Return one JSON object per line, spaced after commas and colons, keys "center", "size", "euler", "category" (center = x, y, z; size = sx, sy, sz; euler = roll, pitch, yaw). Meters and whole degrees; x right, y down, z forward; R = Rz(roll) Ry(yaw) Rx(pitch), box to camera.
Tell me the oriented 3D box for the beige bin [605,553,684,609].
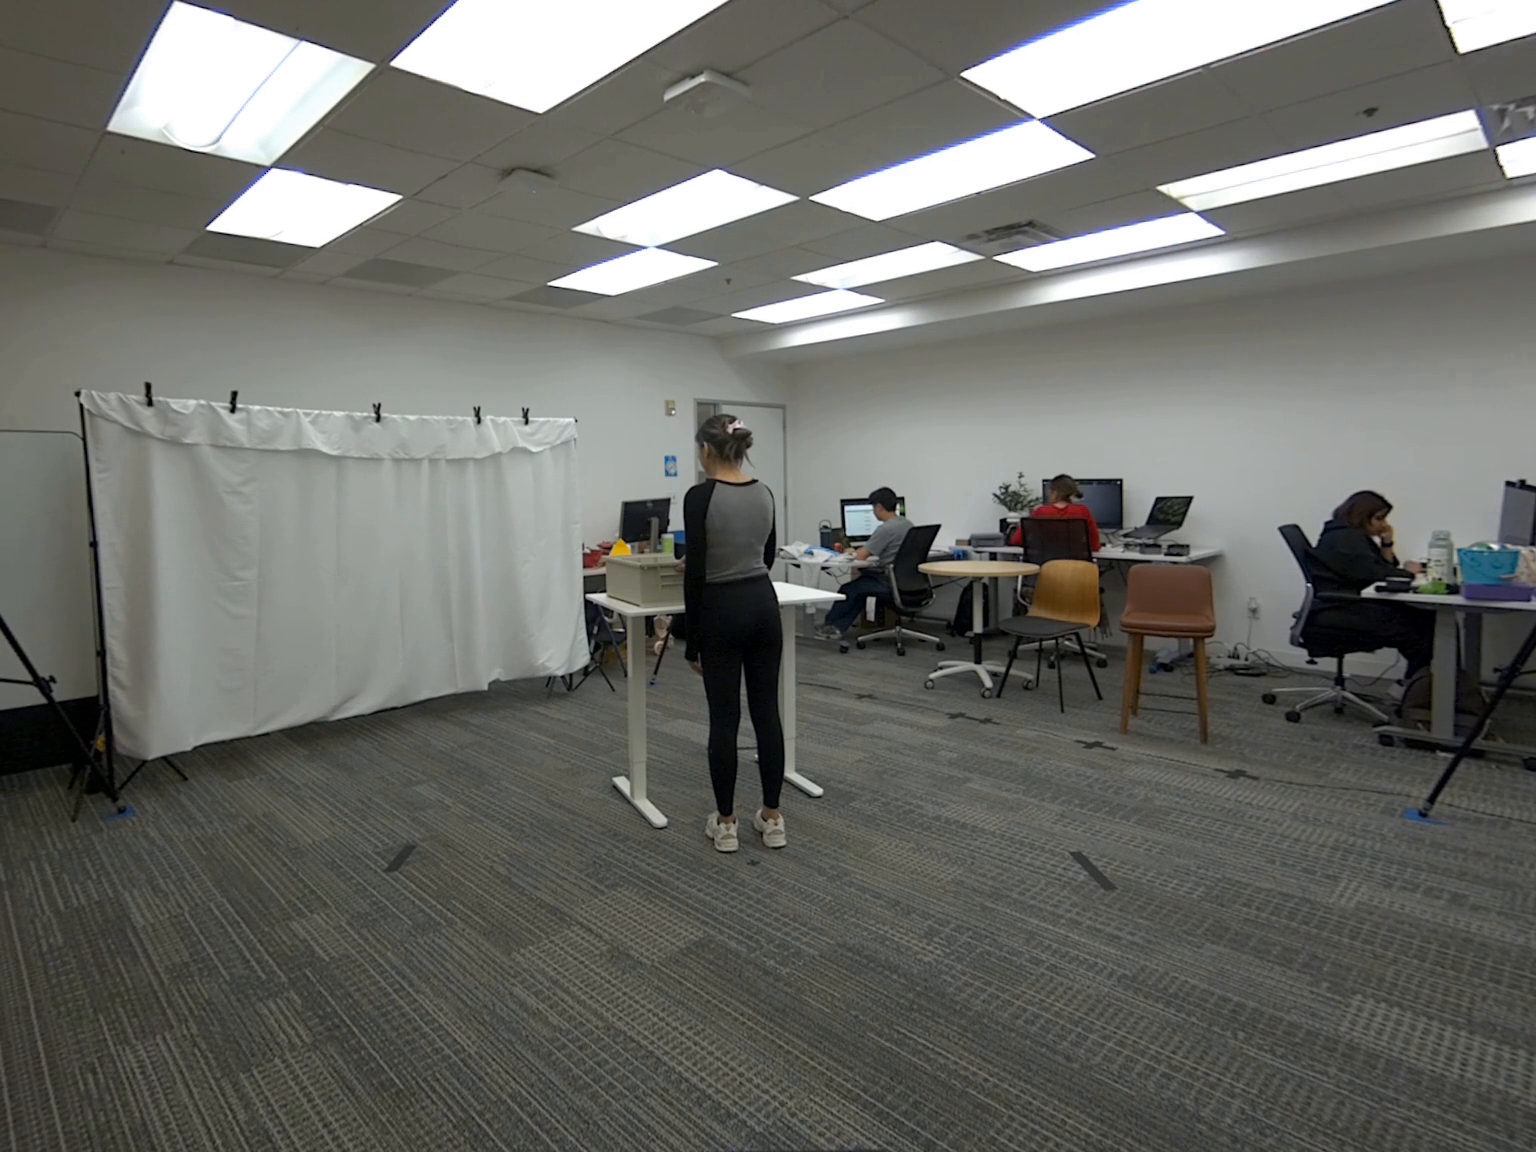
{"center": [-0.456, 0.015, 3.669], "size": [0.369, 0.188, 0.434], "euler": [-5, 8, -30], "category": "beige bin"}
